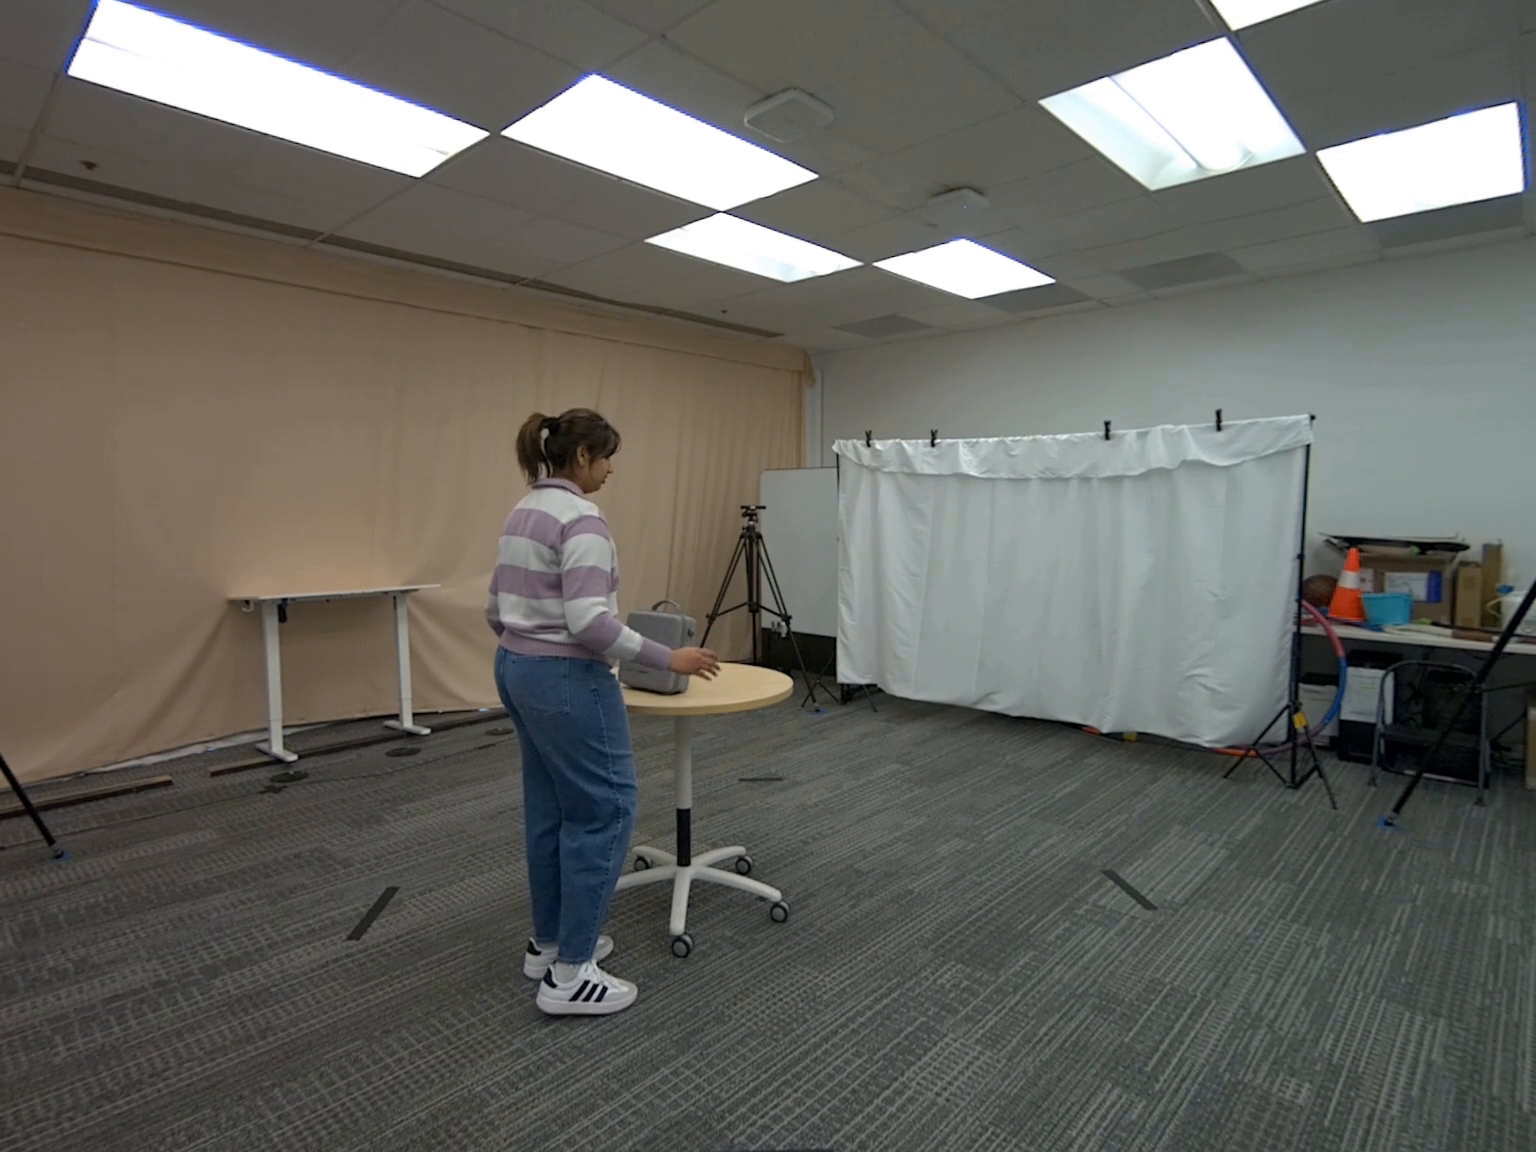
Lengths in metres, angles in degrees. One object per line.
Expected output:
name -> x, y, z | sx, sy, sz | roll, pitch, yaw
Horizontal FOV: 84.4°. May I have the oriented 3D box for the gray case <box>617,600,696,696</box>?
gray case -> -0.367, 0.244, 2.786 | 0.265, 0.261, 0.100 | 3, -7, 40
